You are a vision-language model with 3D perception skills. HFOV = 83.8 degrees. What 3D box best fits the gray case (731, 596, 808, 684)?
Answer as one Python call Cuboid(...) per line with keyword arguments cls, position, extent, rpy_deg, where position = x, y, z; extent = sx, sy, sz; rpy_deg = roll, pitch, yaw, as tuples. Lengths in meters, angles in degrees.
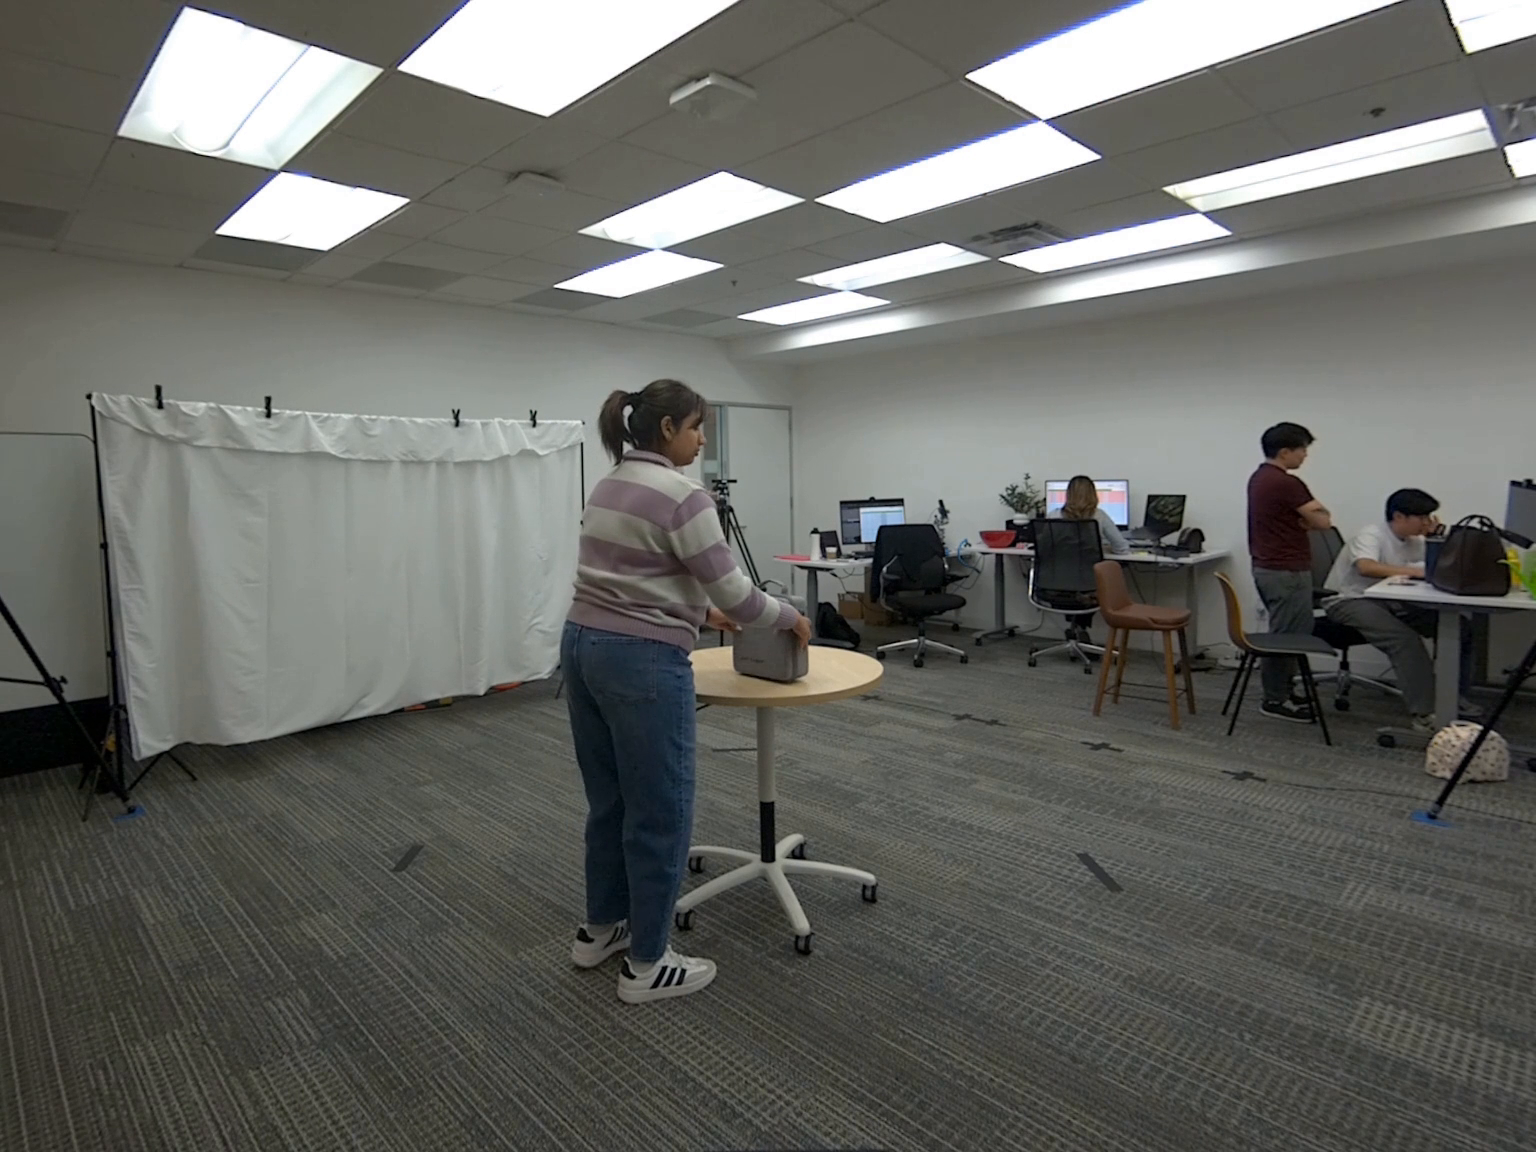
Cuboid(cls="gray case", position=(0.005, 0.182, 2.646), extent=(0.101, 0.260, 0.264), rpy_deg=(-2, 3, -41))
